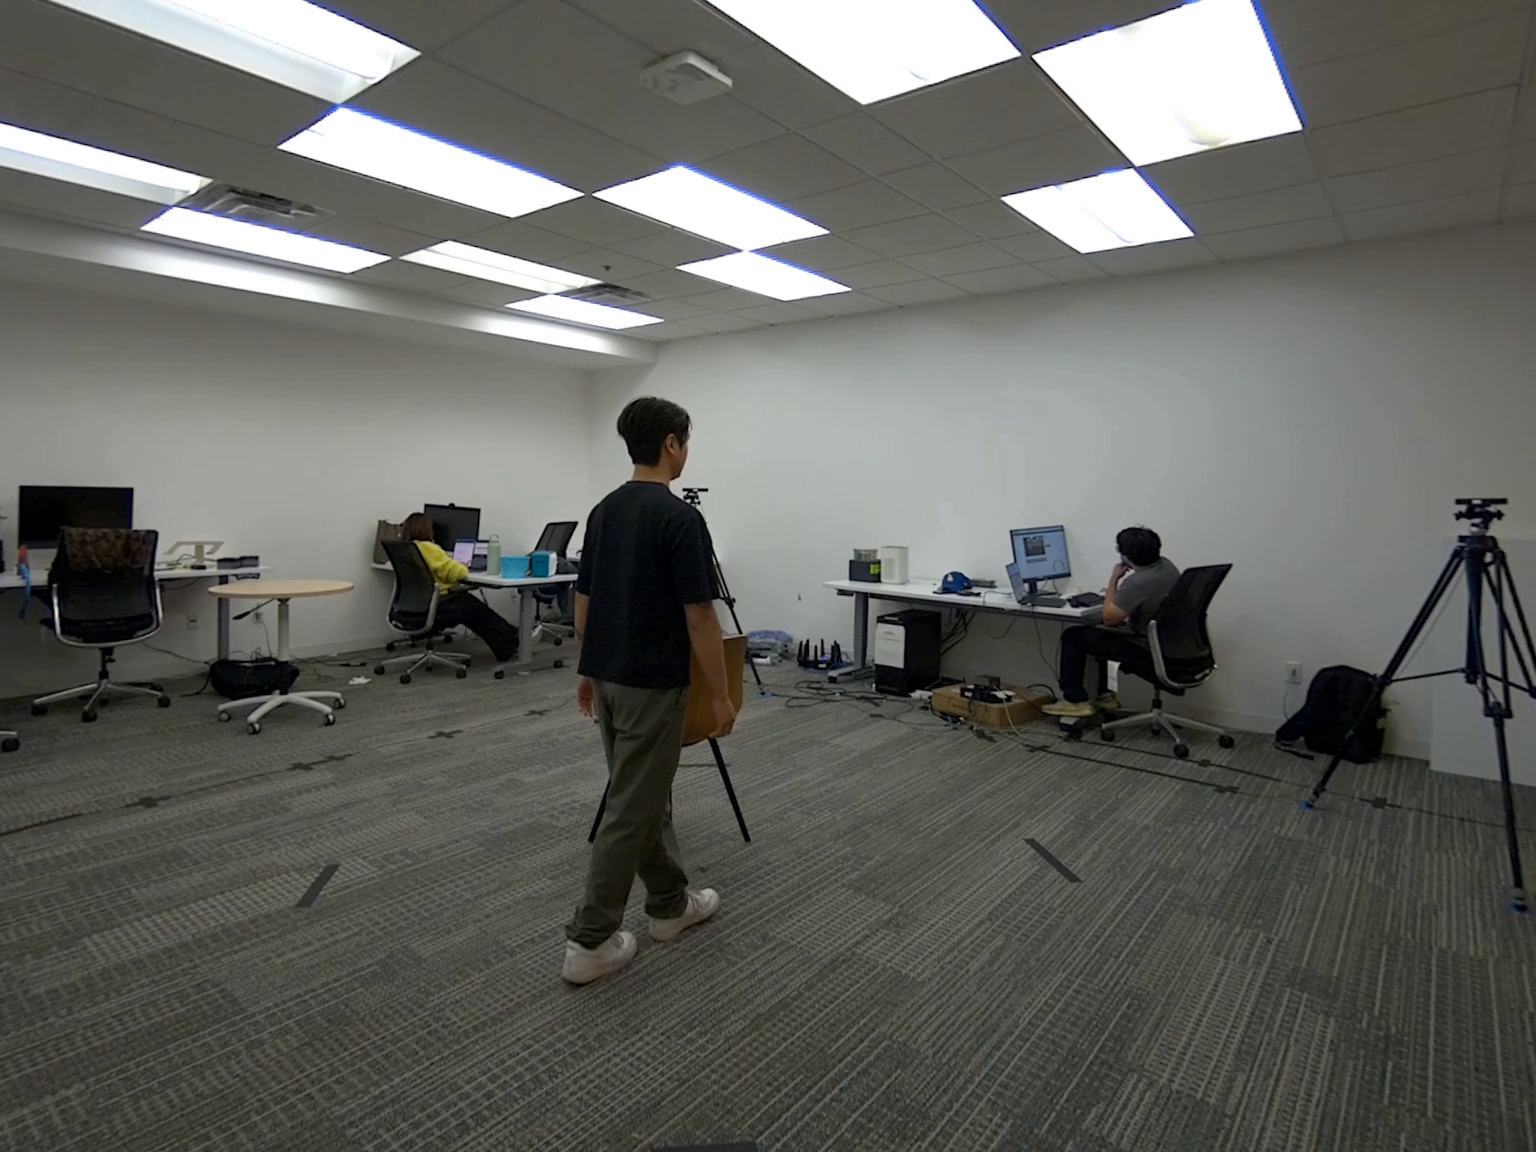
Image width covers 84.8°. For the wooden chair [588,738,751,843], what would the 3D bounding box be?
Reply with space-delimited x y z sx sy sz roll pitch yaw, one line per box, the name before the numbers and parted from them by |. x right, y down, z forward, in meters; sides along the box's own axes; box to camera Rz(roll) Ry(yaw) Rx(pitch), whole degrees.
wooden chair | -0.393 0.616 3.328 0.542 0.873 0.464 9 8 39
